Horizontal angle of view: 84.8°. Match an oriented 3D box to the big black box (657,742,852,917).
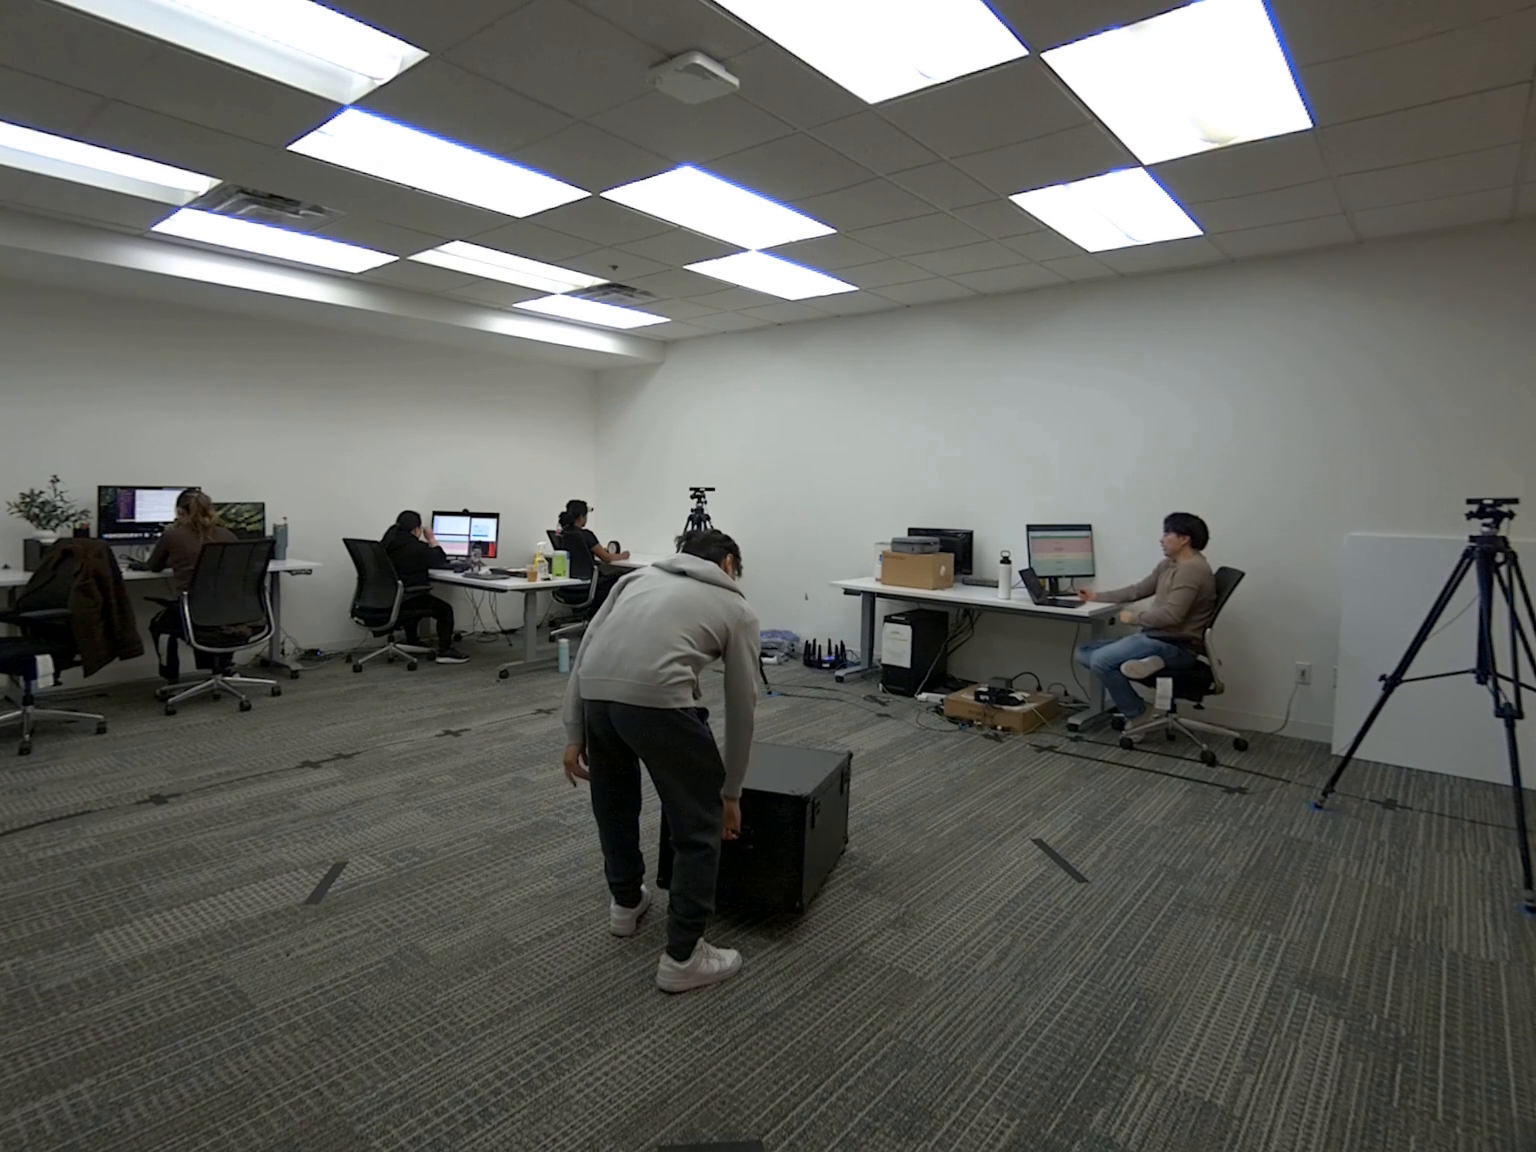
[{"bbox_3d":[-0.034,0.851,3.011,0.532,0.397,0.842,2,-2,17],"label":"big black box"}]
